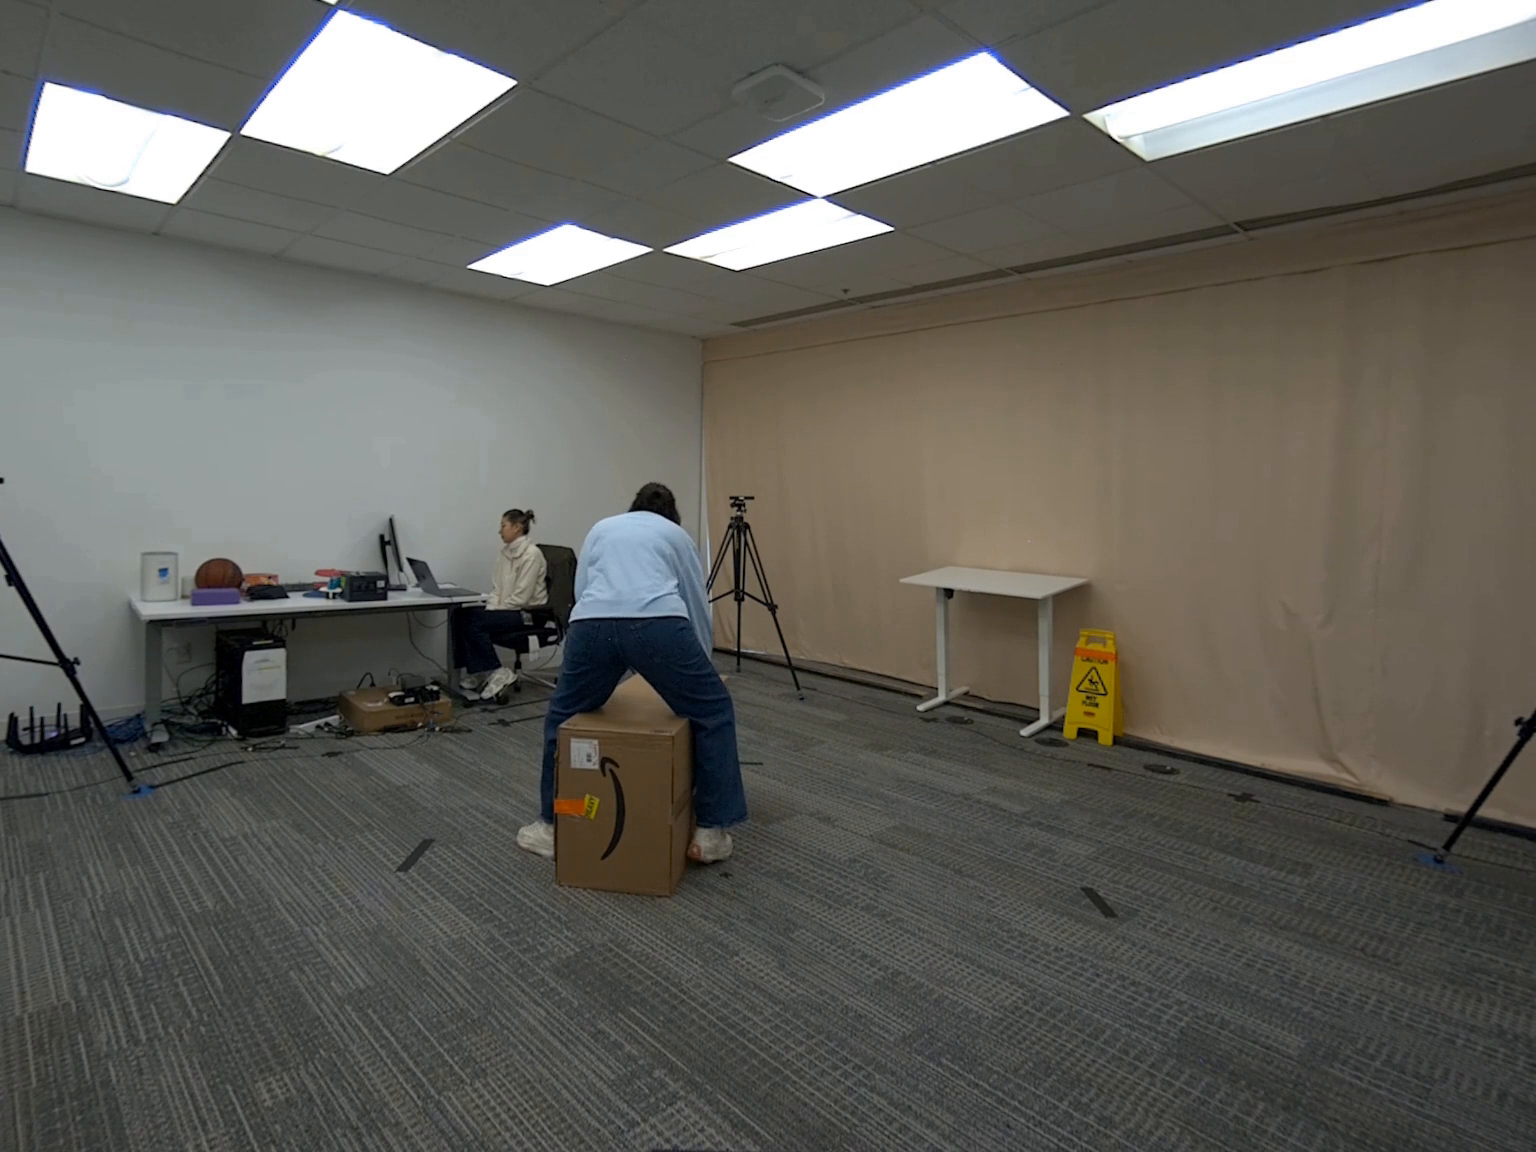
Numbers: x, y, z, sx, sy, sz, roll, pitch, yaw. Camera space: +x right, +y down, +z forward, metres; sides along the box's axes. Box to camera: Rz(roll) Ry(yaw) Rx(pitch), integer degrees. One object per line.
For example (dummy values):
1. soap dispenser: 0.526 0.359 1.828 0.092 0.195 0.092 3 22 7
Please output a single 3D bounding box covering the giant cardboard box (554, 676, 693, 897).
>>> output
1. giant cardboard box: -0.476 0.782 3.446 0.429 0.576 1.021 2 5 8
